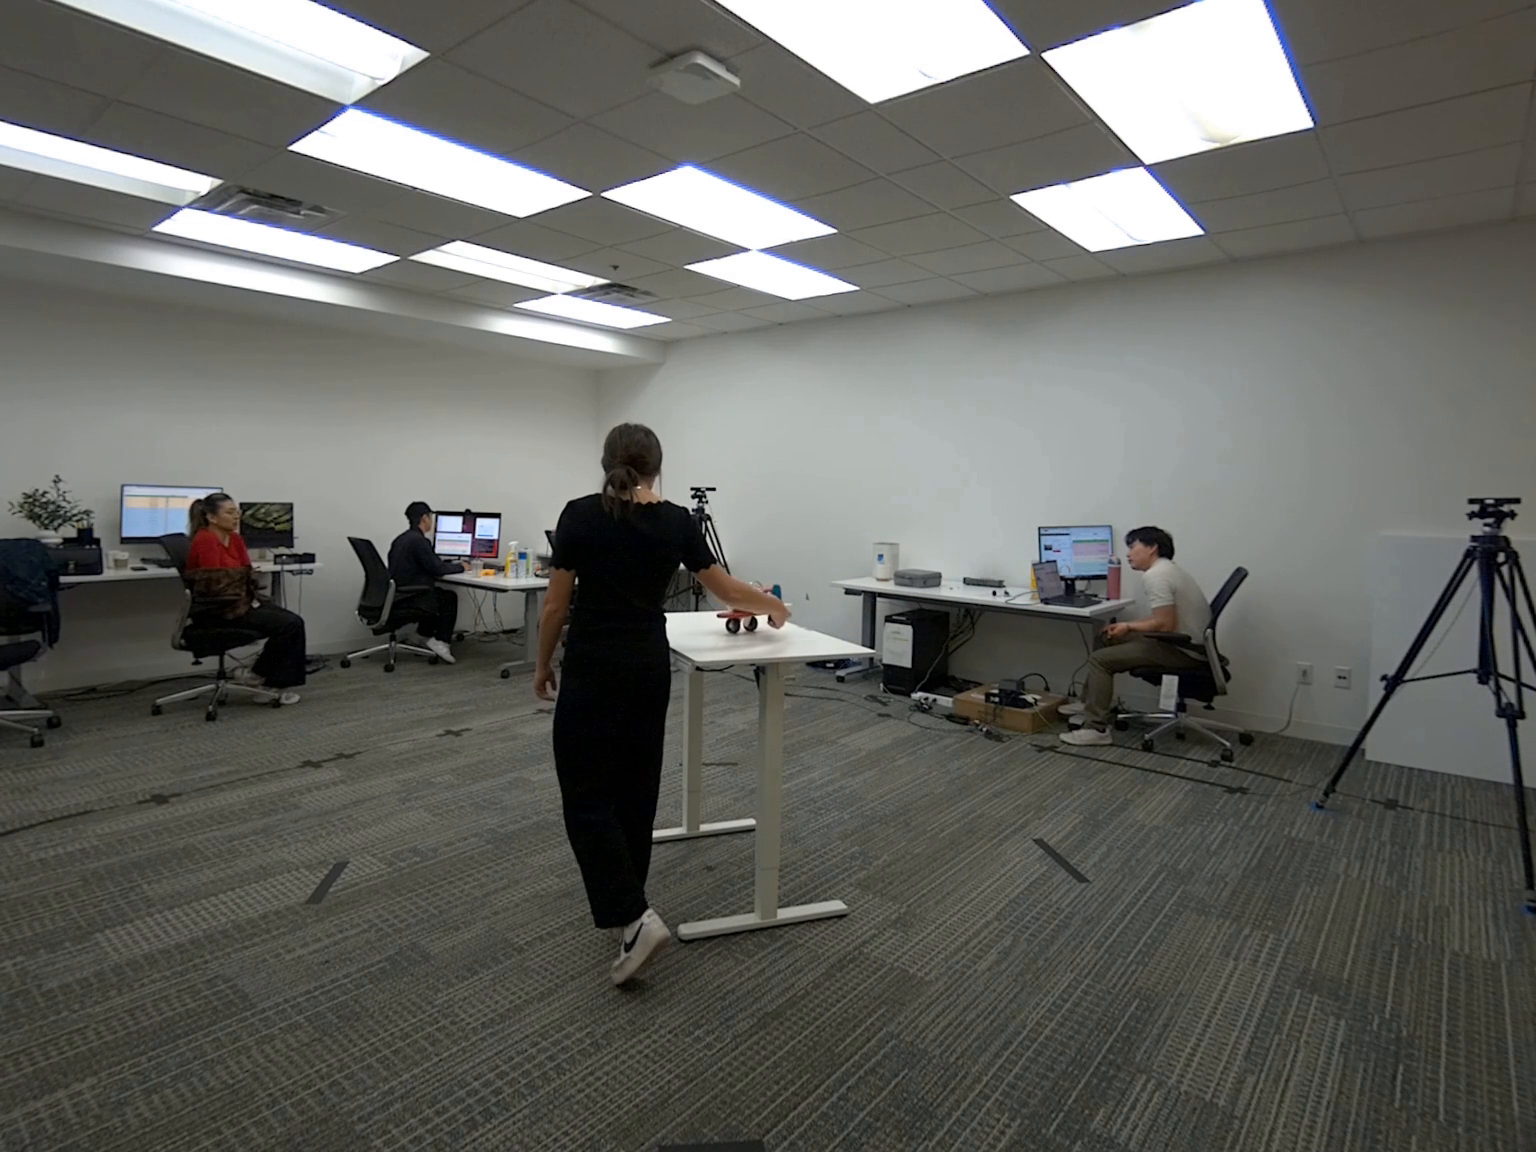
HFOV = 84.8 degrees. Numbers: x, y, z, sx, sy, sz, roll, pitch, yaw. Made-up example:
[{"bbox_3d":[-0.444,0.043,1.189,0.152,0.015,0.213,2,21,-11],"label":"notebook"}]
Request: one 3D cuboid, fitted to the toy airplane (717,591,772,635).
[{"bbox_3d":[-0.048,0.101,2.969,0.263,0.158,0.245,-14,-8,18],"label":"toy airplane"}]
